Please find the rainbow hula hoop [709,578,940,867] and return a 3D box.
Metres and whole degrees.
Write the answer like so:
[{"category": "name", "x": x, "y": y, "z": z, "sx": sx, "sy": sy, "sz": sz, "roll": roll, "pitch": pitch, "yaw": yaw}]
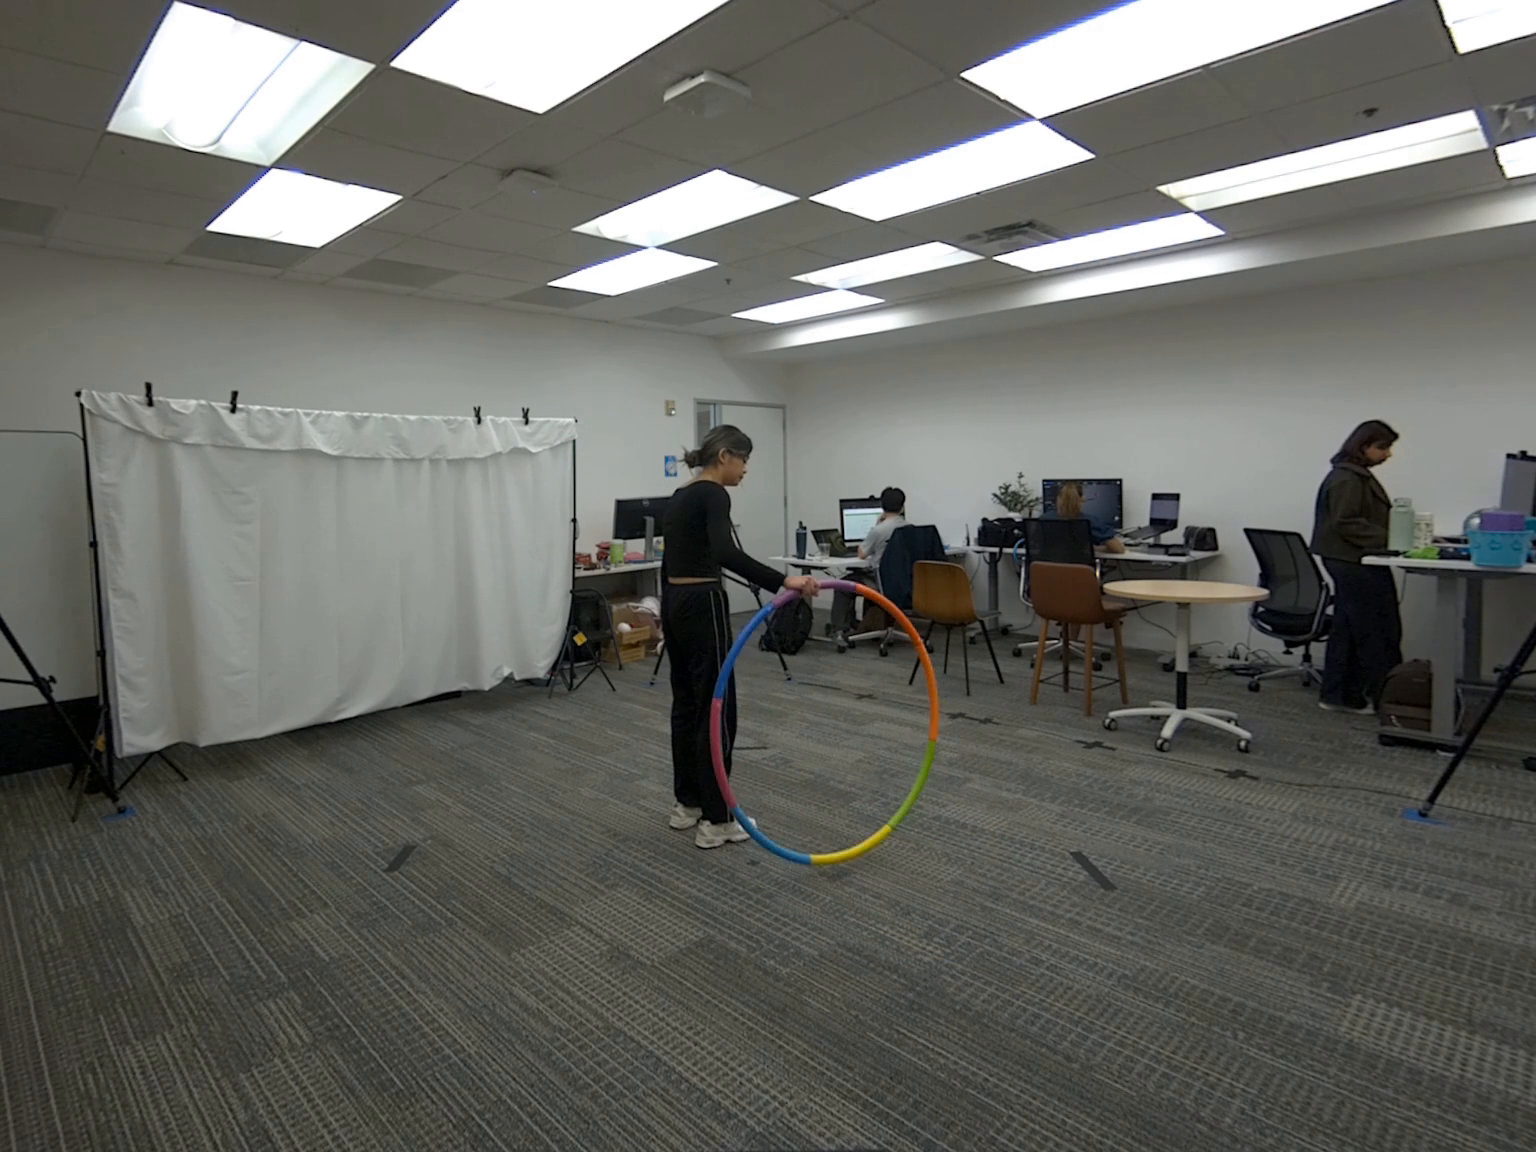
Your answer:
[{"category": "rainbow hula hoop", "x": 0.233, "y": 0.503, "z": 3.038, "sx": 0.956, "sy": 0.981, "sz": 0.036, "roll": -4, "pitch": -3, "yaw": -30}]
